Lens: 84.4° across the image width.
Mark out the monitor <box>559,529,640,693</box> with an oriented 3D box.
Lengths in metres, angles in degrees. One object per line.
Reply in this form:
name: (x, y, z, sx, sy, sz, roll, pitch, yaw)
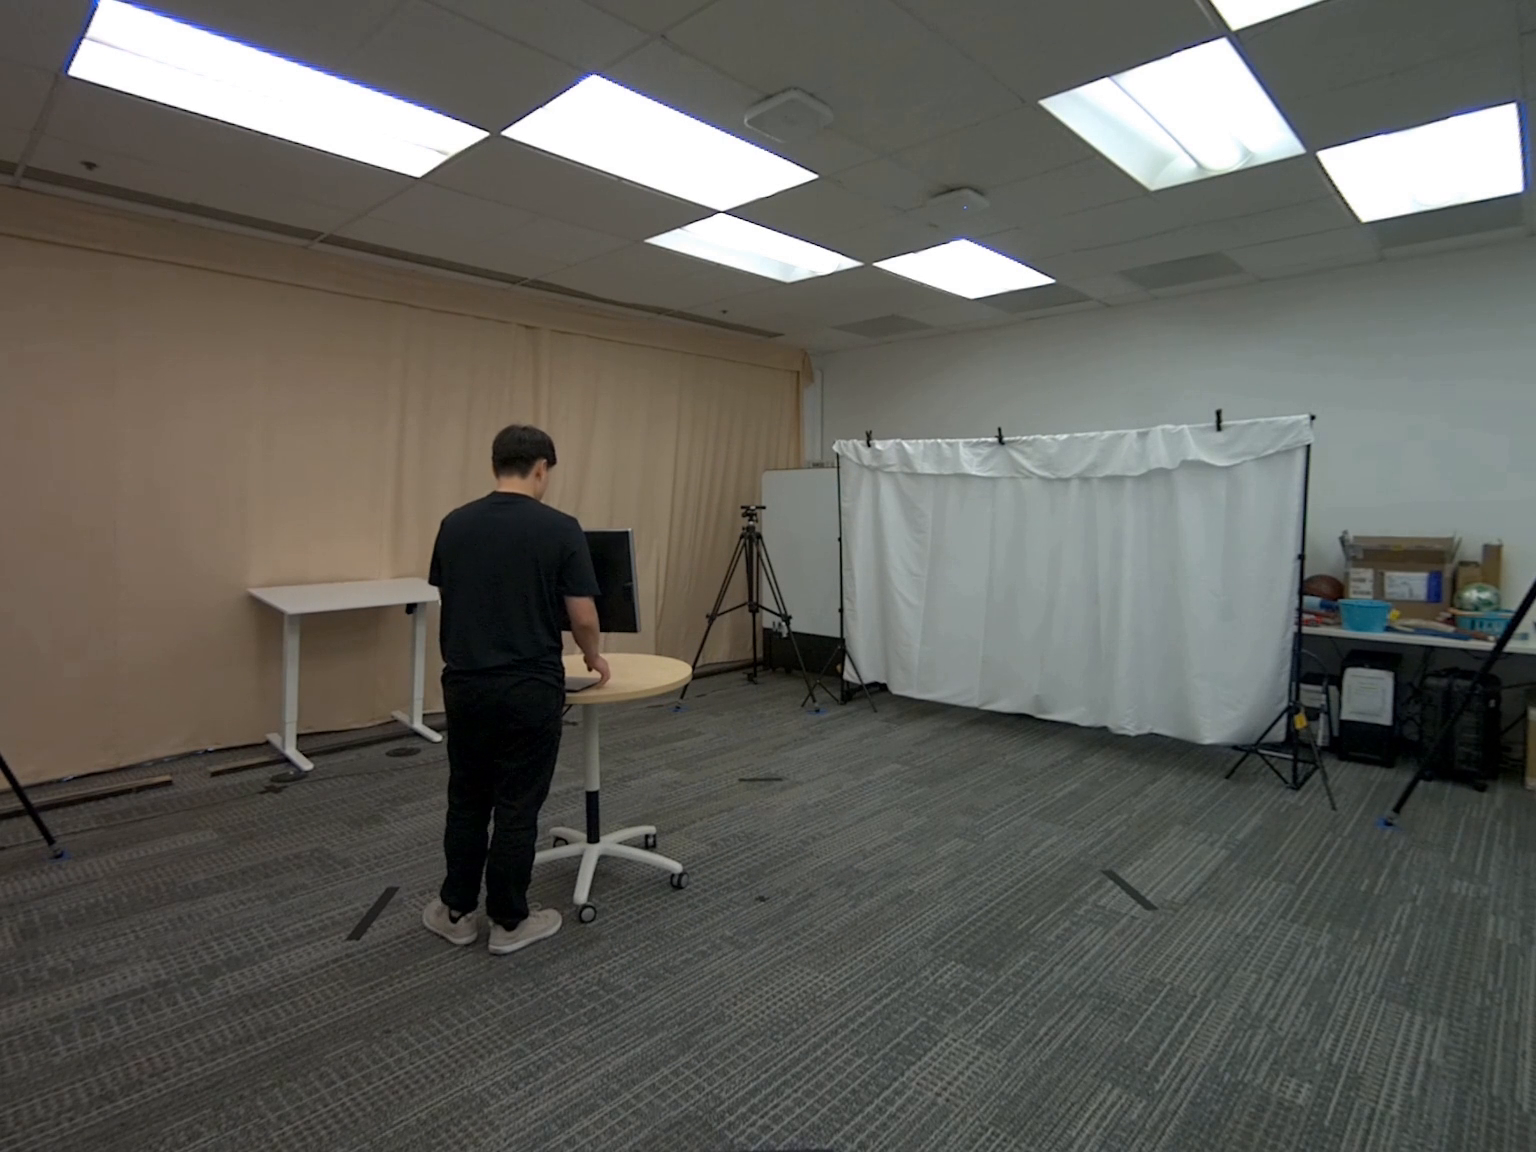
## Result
monitor: (-0.723, 0.108, 2.895, 0.548, 0.522, 0.184, 0, 1, 16)
